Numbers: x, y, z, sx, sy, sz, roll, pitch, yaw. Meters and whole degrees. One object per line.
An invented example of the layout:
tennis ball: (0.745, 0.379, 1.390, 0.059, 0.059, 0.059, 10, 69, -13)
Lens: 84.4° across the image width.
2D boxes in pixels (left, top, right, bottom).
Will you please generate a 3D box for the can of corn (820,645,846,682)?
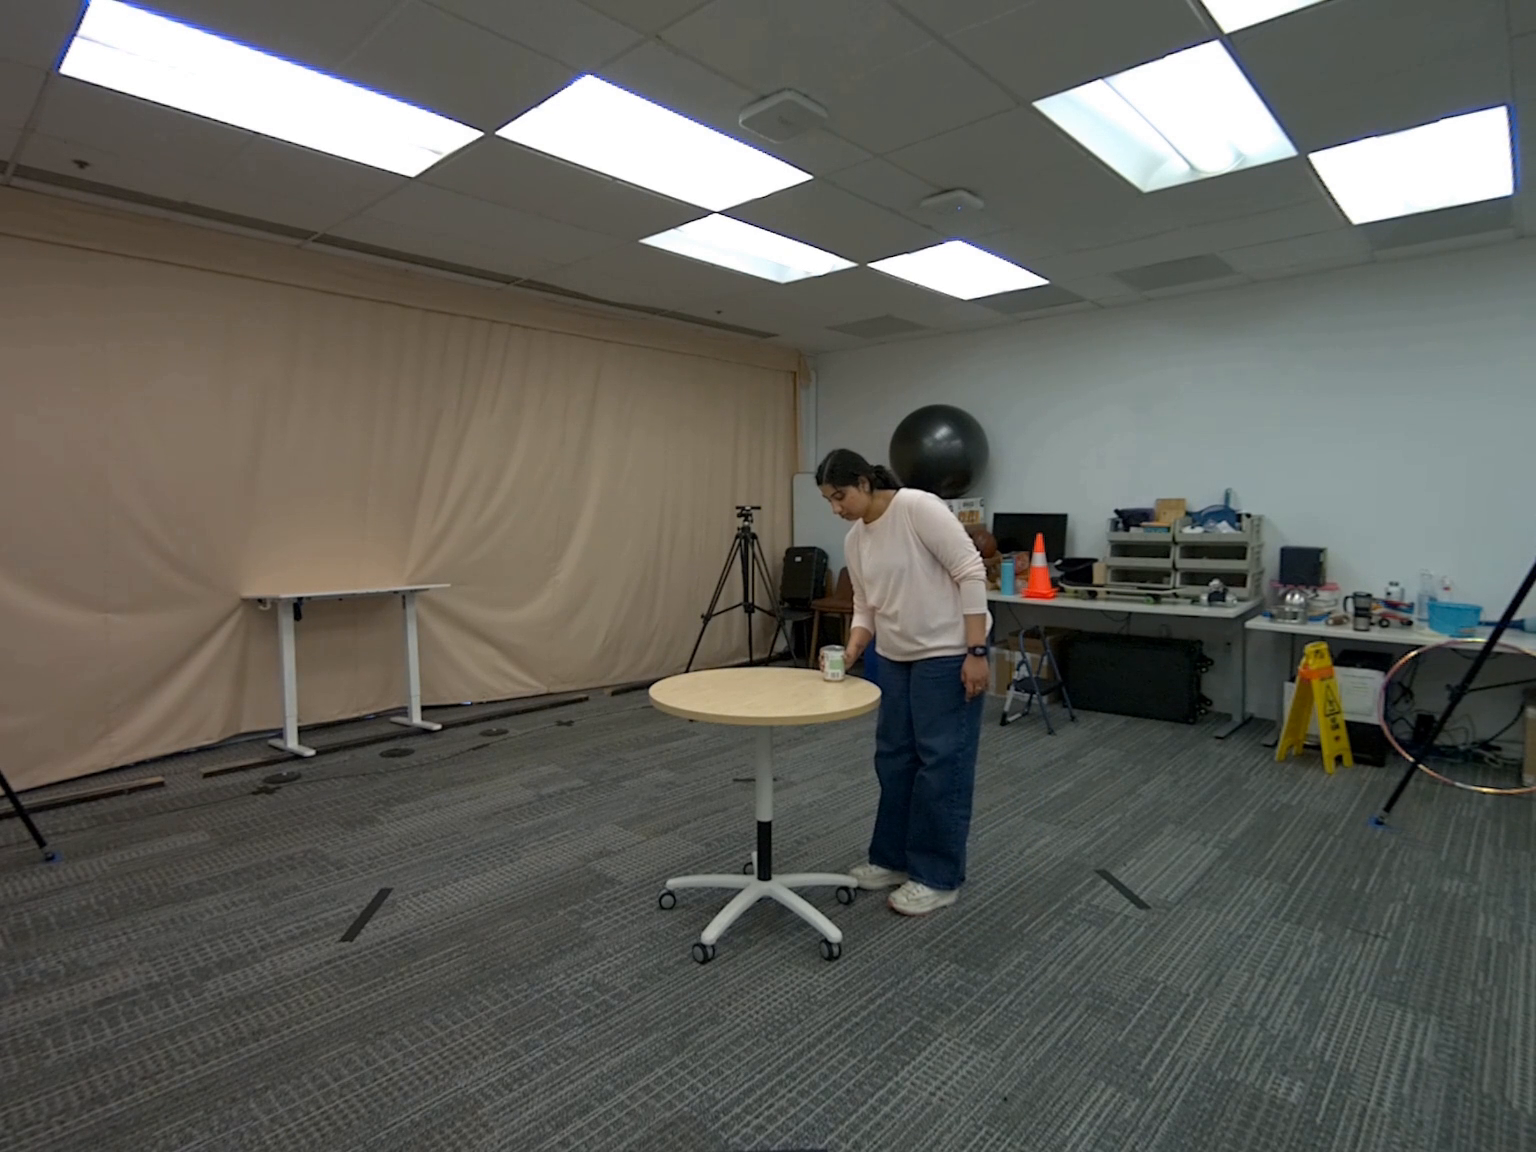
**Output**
can of corn: (0.229, 0.307, 2.939, 0.074, 0.111, 0.074, 4, 5, -2)
